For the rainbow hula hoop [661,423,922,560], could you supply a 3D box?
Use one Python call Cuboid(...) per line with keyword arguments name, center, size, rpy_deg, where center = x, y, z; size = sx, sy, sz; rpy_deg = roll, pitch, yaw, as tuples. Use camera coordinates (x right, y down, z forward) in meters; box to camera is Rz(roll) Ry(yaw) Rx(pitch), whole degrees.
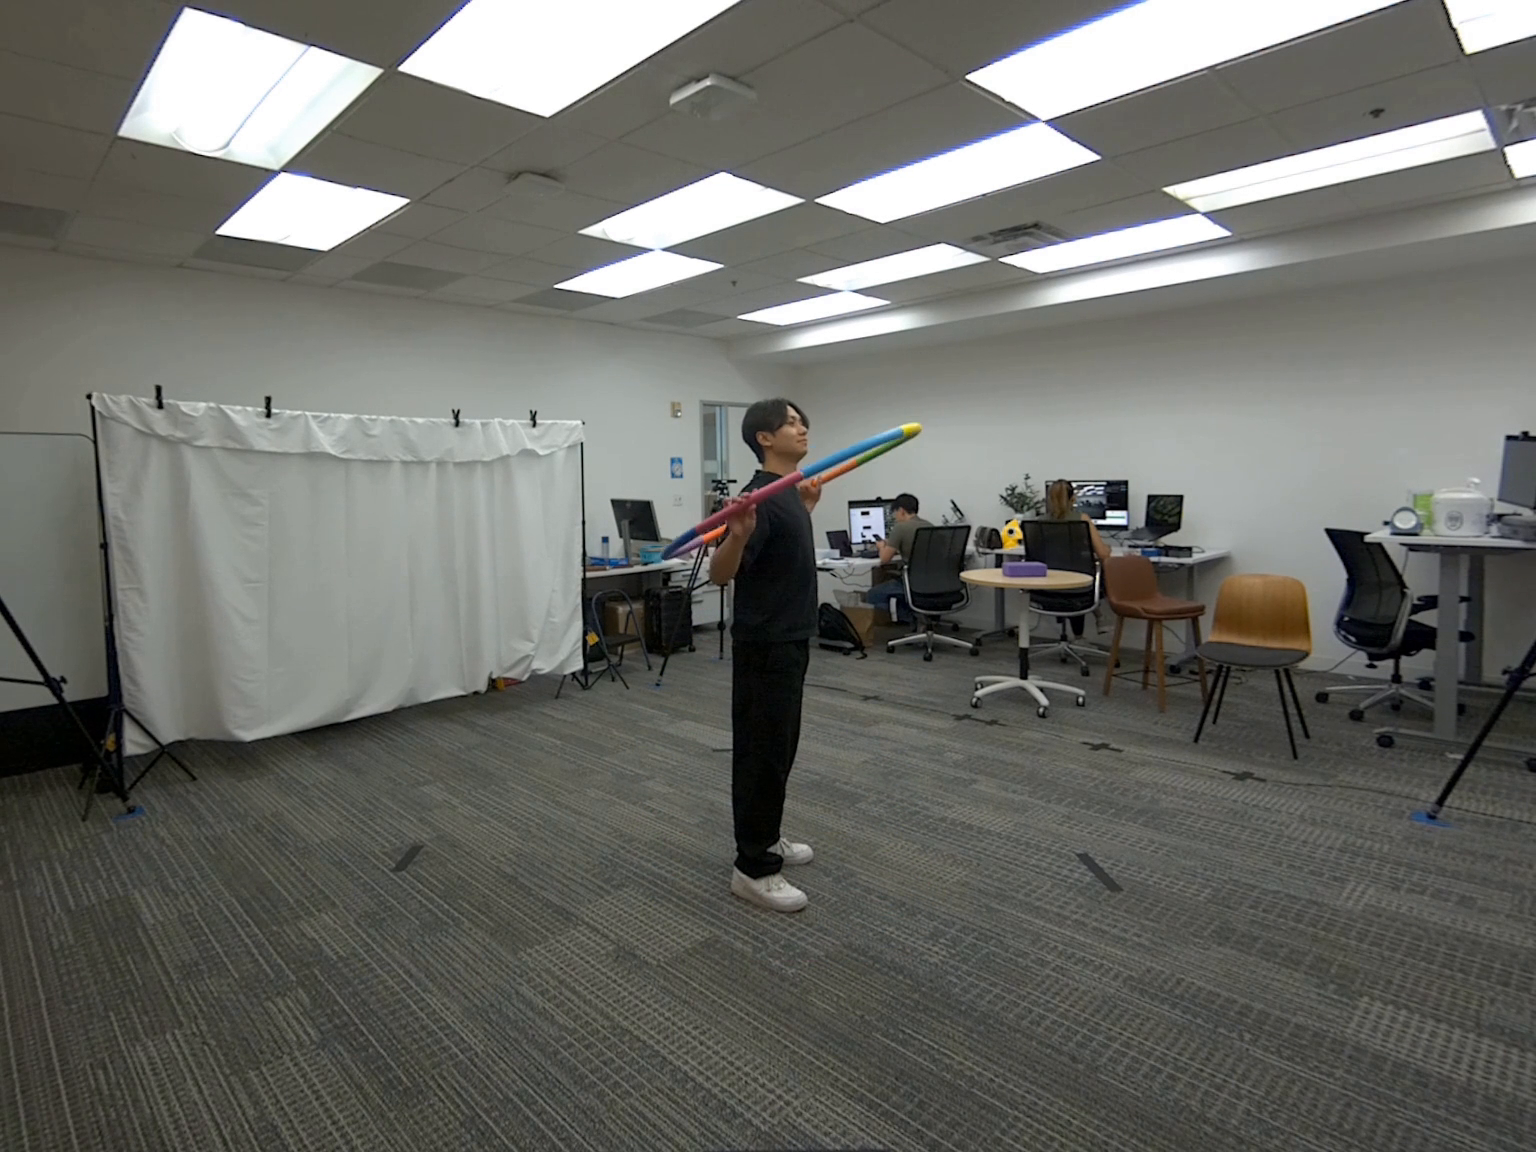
Cuboid(name="rainbow hula hoop", center=(0.065, -0.270, 2.901), size=(0.977, 0.035, 0.978), rpy_deg=(-26, 1, -3))
